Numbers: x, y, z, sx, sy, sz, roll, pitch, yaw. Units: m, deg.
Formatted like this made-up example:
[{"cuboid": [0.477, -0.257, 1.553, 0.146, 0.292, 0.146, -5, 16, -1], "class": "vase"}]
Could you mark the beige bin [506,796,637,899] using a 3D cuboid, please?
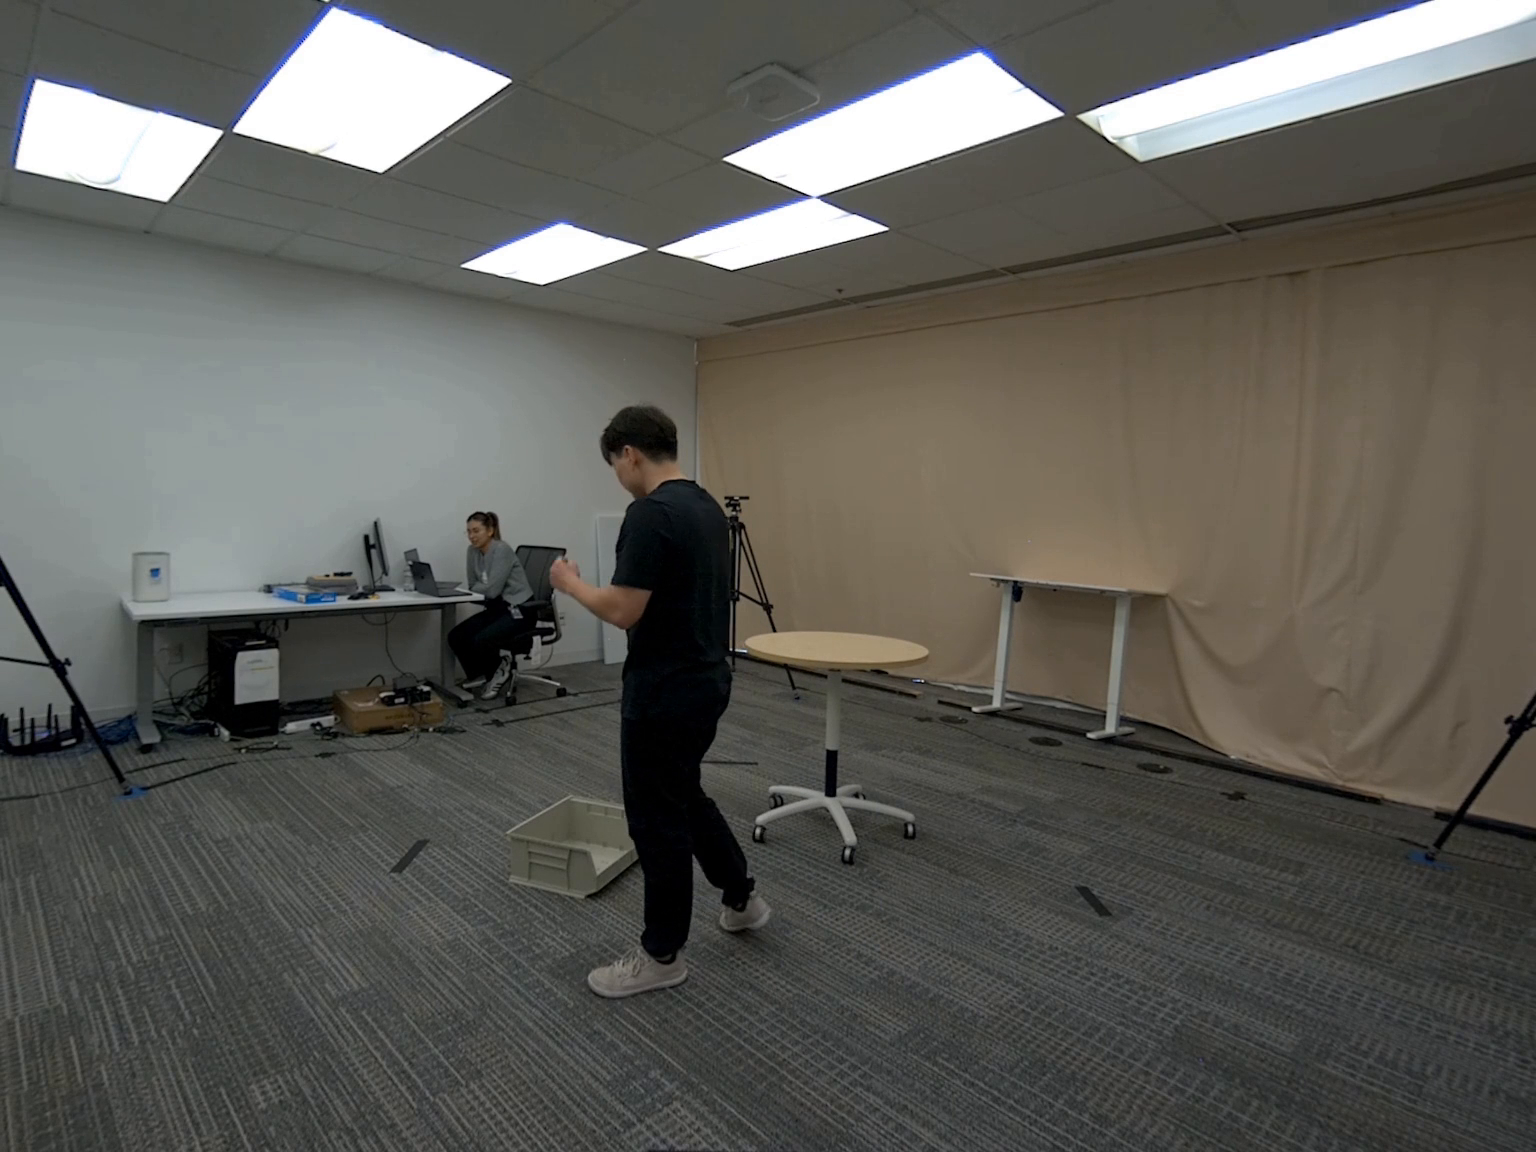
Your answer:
[{"cuboid": [-0.699, 1.002, 3.127, 0.383, 0.188, 0.417, 2, 5, 19], "class": "beige bin"}]
